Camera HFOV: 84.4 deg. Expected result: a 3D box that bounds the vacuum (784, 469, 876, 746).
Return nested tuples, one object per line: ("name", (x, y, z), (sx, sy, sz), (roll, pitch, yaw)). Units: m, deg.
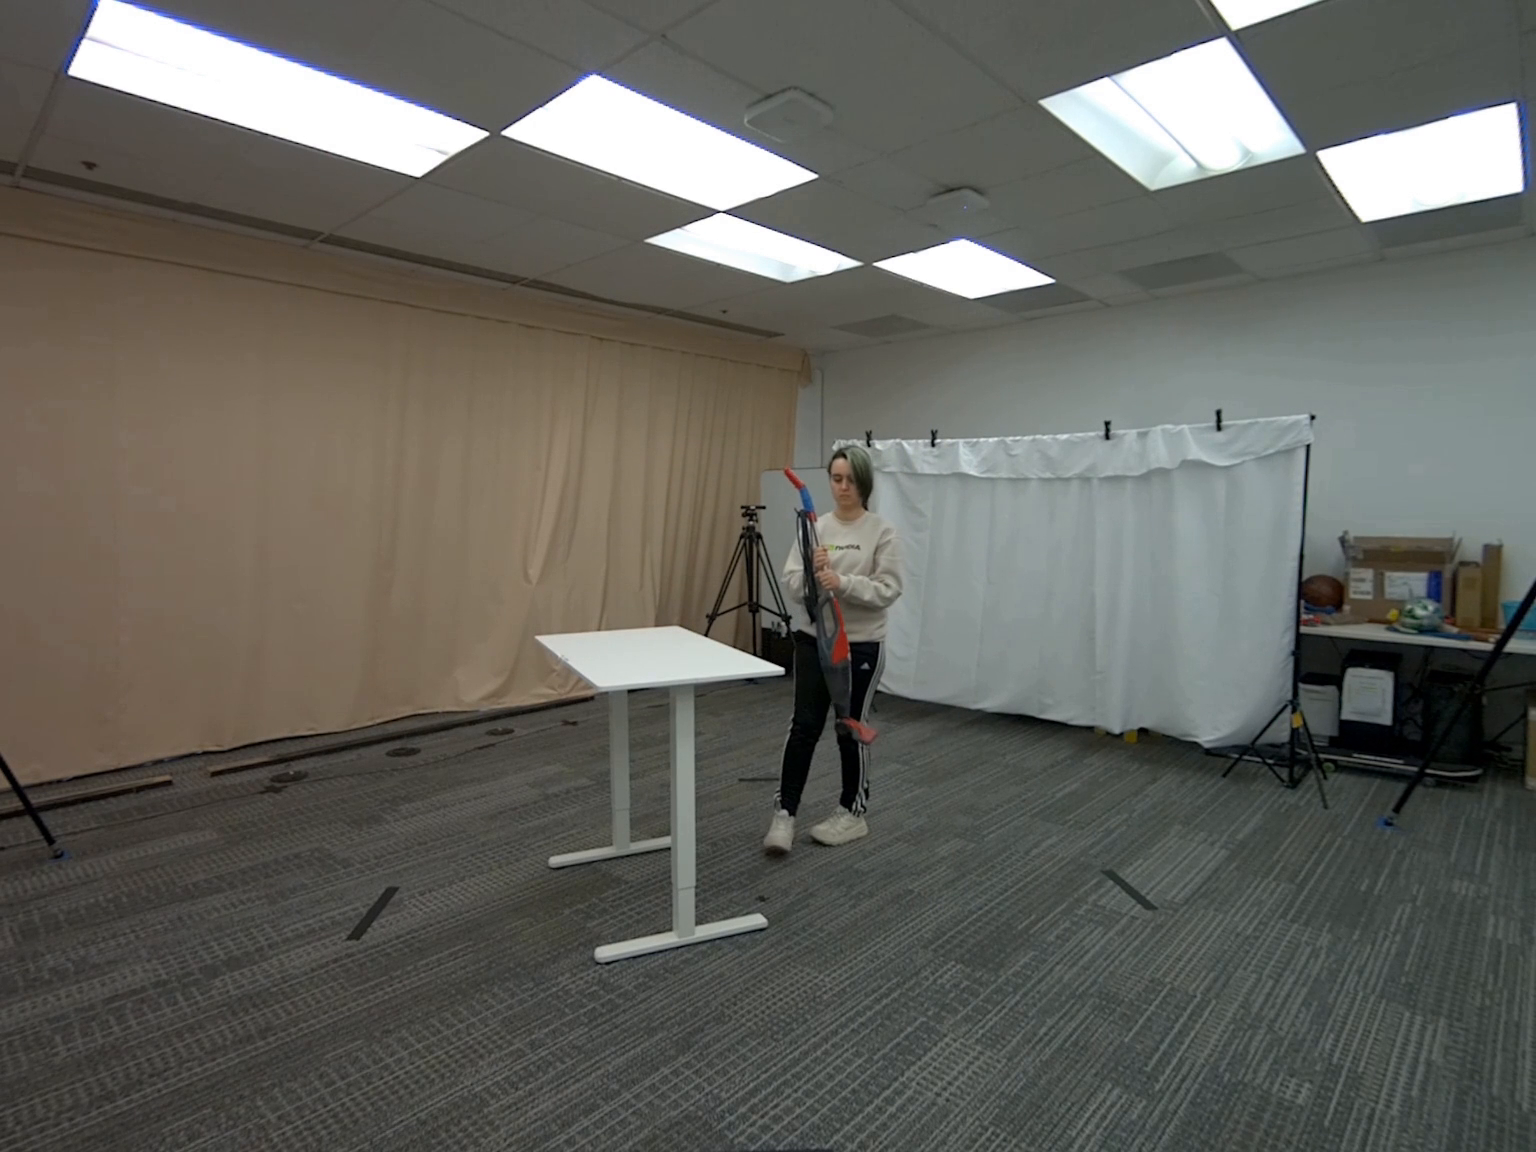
("vacuum", (0.206, 0.091, 3.263), (0.146, 1.055, 0.247), (-18, -7, 21))
